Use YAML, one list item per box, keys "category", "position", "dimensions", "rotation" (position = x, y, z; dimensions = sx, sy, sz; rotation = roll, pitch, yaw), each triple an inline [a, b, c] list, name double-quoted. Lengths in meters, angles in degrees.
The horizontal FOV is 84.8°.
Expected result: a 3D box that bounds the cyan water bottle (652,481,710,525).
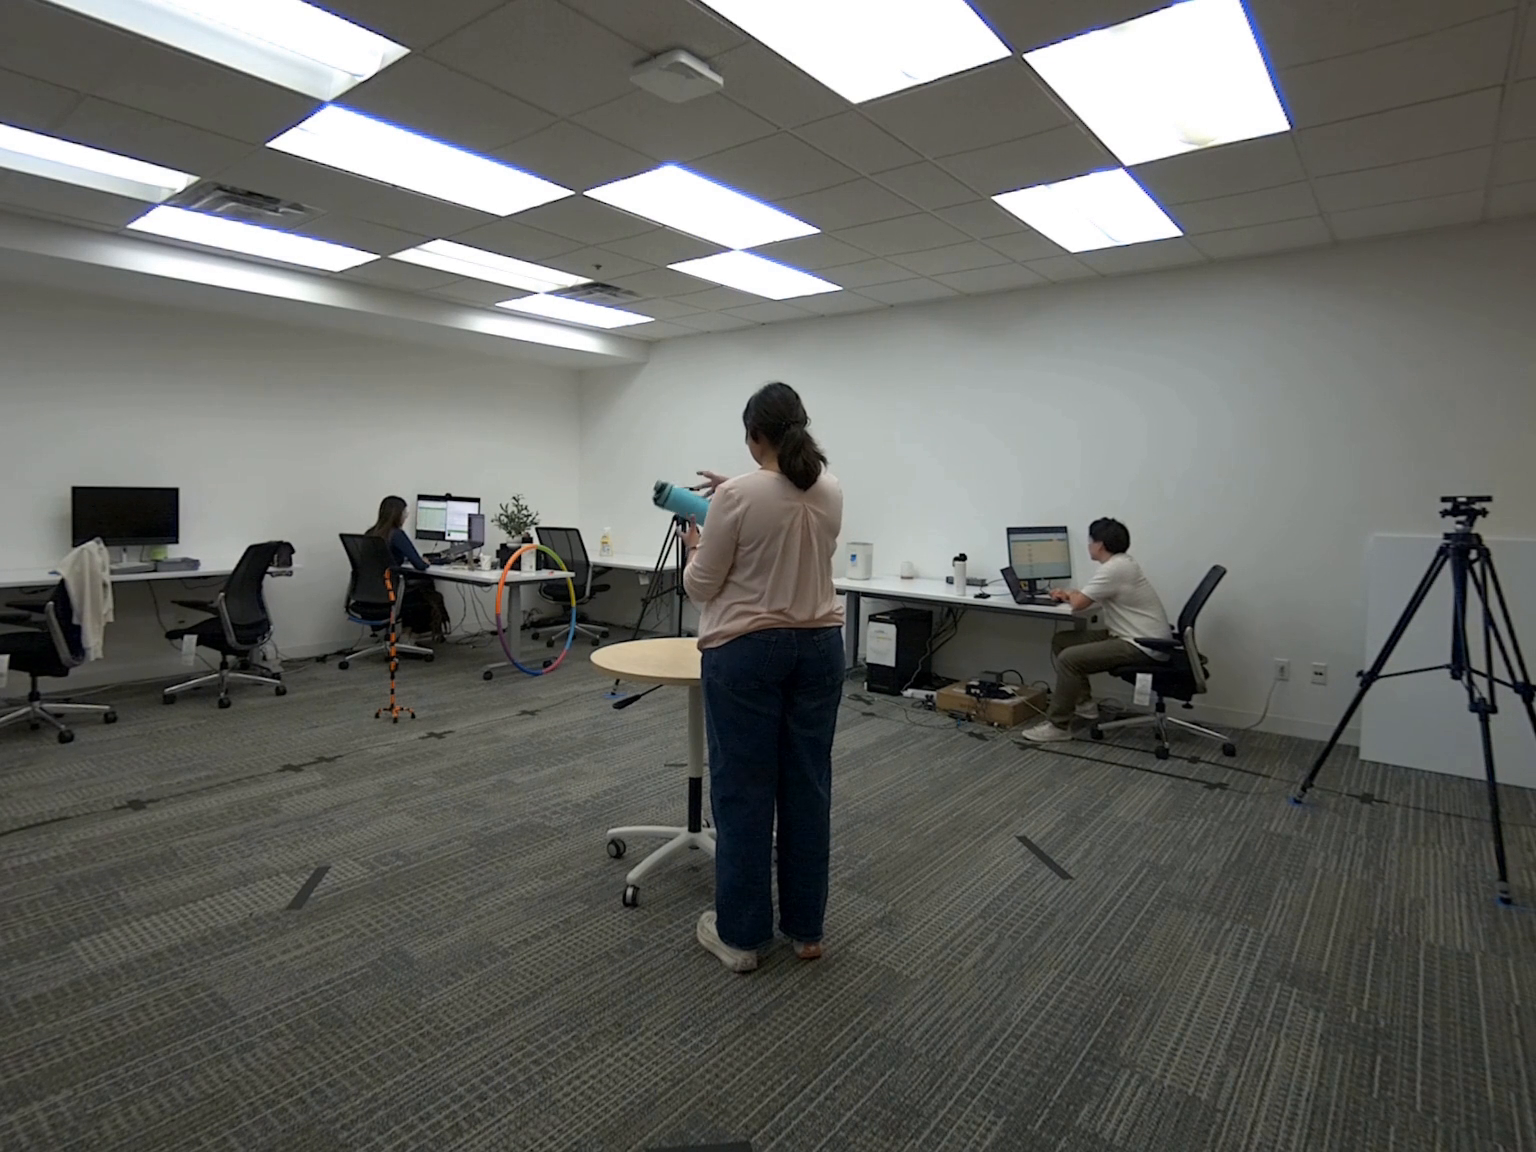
- category: "cyan water bottle"
  position: [-0.261, -0.208, 2.846]
  dimensions: [0.283, 0.092, 0.092]
  rotation: [25, 3, -1]
